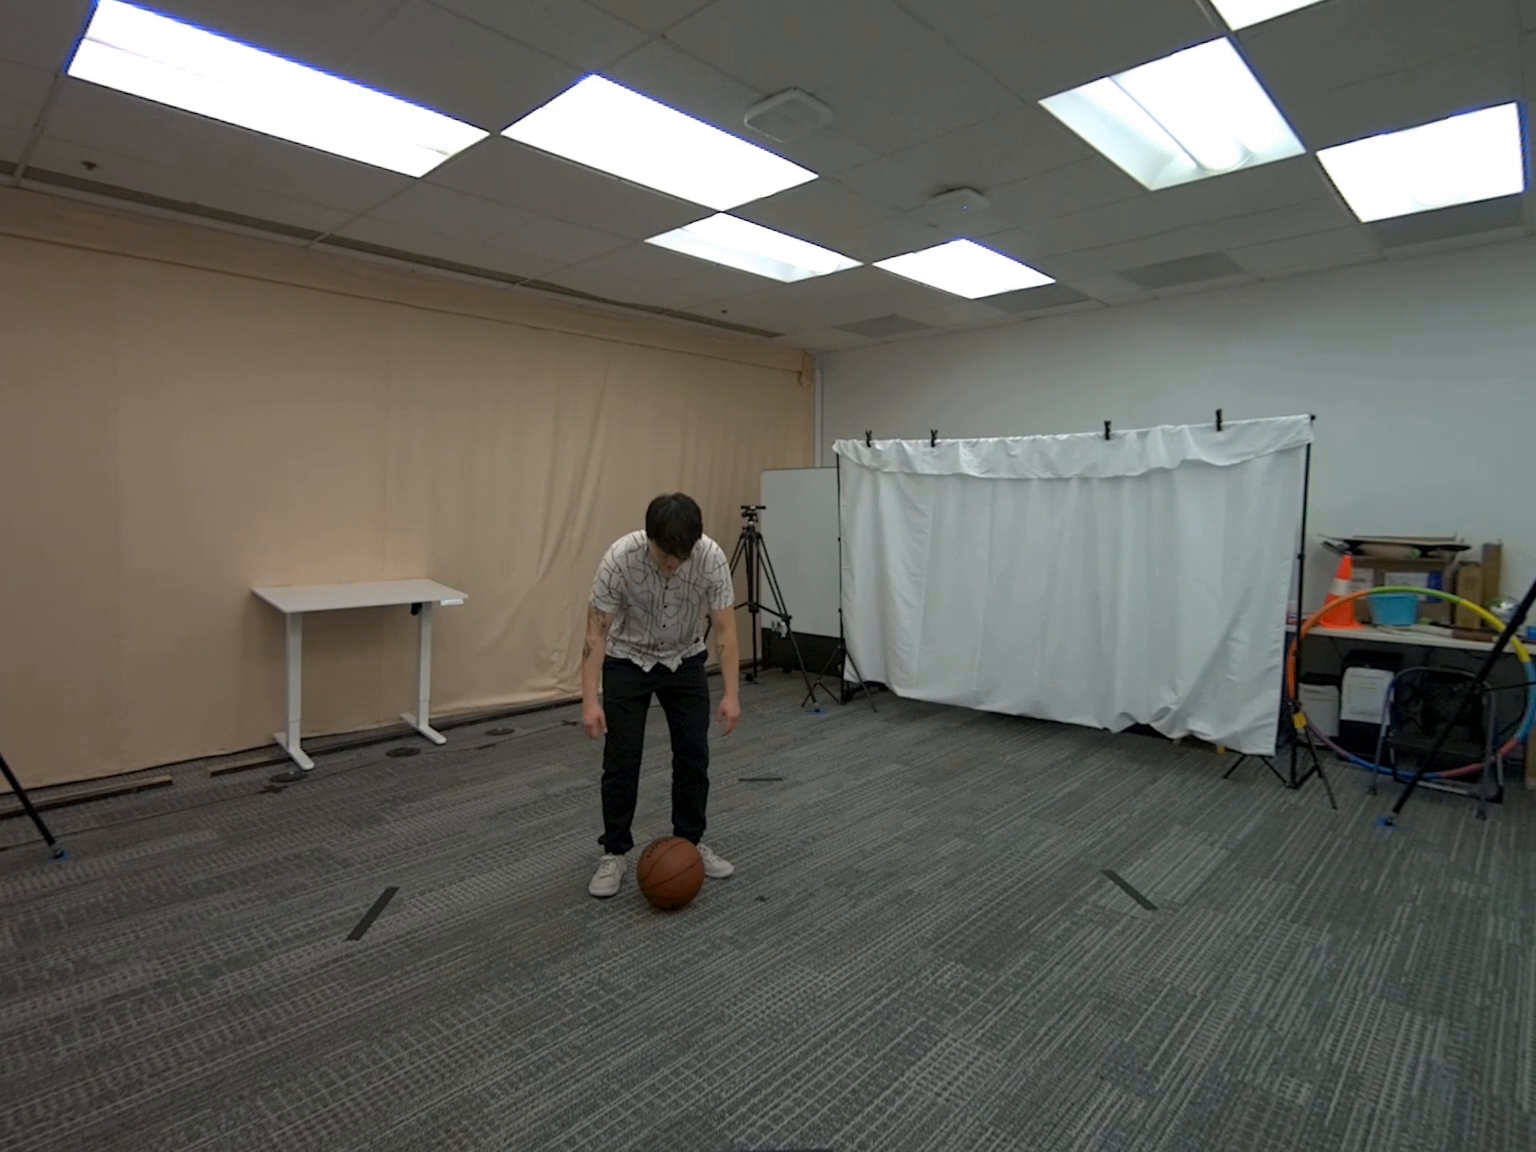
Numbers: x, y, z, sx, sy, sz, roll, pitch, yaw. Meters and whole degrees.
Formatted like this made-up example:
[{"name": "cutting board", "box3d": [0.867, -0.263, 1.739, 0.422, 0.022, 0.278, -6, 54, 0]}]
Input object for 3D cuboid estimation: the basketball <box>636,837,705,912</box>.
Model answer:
[{"name": "basketball", "box3d": [-0.339, 1.027, 2.930, 0.236, 0.235, 0.237, 0, 4, -2]}]
